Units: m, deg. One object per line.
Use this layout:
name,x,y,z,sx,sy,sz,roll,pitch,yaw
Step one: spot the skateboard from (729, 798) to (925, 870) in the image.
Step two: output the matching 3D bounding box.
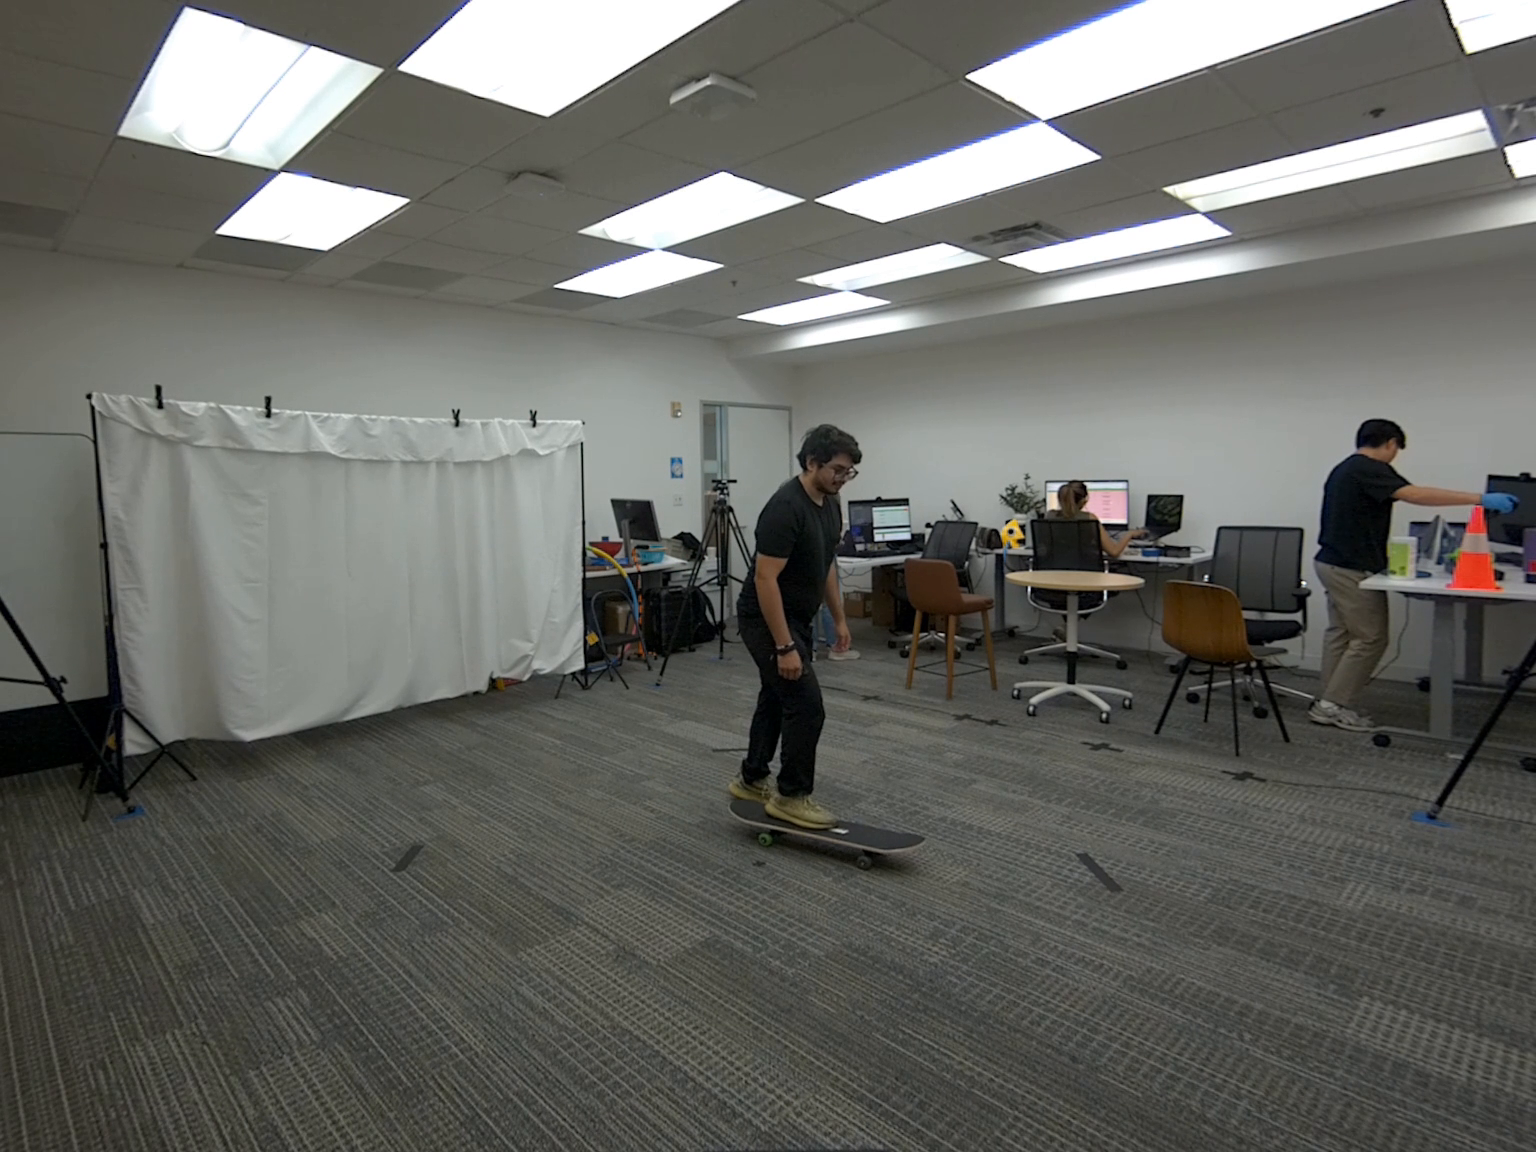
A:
skateboard,0.206,0.978,3.223,0.806,0.110,0.189,3,4,31
